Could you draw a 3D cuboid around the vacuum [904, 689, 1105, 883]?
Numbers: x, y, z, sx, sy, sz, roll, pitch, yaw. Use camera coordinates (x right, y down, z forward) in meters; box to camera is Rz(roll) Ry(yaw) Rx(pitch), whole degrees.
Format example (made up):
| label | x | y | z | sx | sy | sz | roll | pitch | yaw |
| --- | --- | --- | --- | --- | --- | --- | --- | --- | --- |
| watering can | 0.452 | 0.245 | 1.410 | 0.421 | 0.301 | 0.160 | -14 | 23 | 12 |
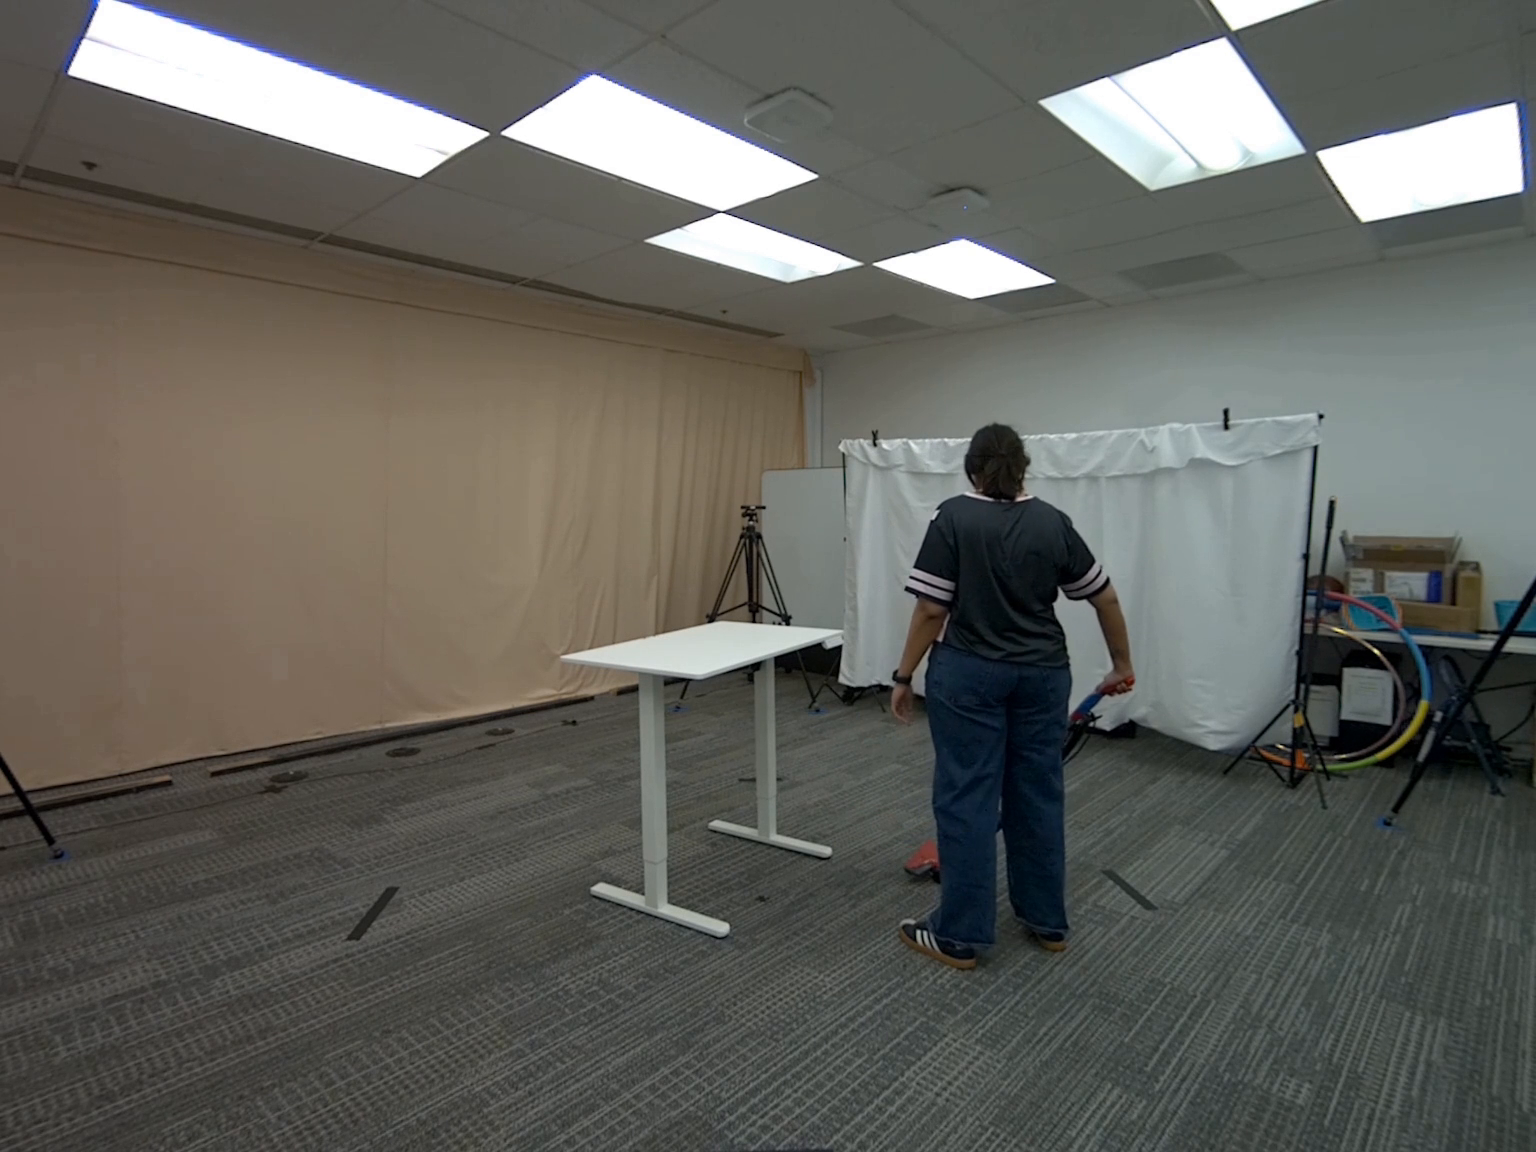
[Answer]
| label | x | y | z | sx | sy | sz | roll | pitch | yaw |
| --- | --- | --- | --- | --- | --- | --- | --- | --- | --- |
| vacuum | 0.901 | 0.726 | 2.945 | 0.147 | 1.053 | 0.247 | 45 | 27 | 15 |
